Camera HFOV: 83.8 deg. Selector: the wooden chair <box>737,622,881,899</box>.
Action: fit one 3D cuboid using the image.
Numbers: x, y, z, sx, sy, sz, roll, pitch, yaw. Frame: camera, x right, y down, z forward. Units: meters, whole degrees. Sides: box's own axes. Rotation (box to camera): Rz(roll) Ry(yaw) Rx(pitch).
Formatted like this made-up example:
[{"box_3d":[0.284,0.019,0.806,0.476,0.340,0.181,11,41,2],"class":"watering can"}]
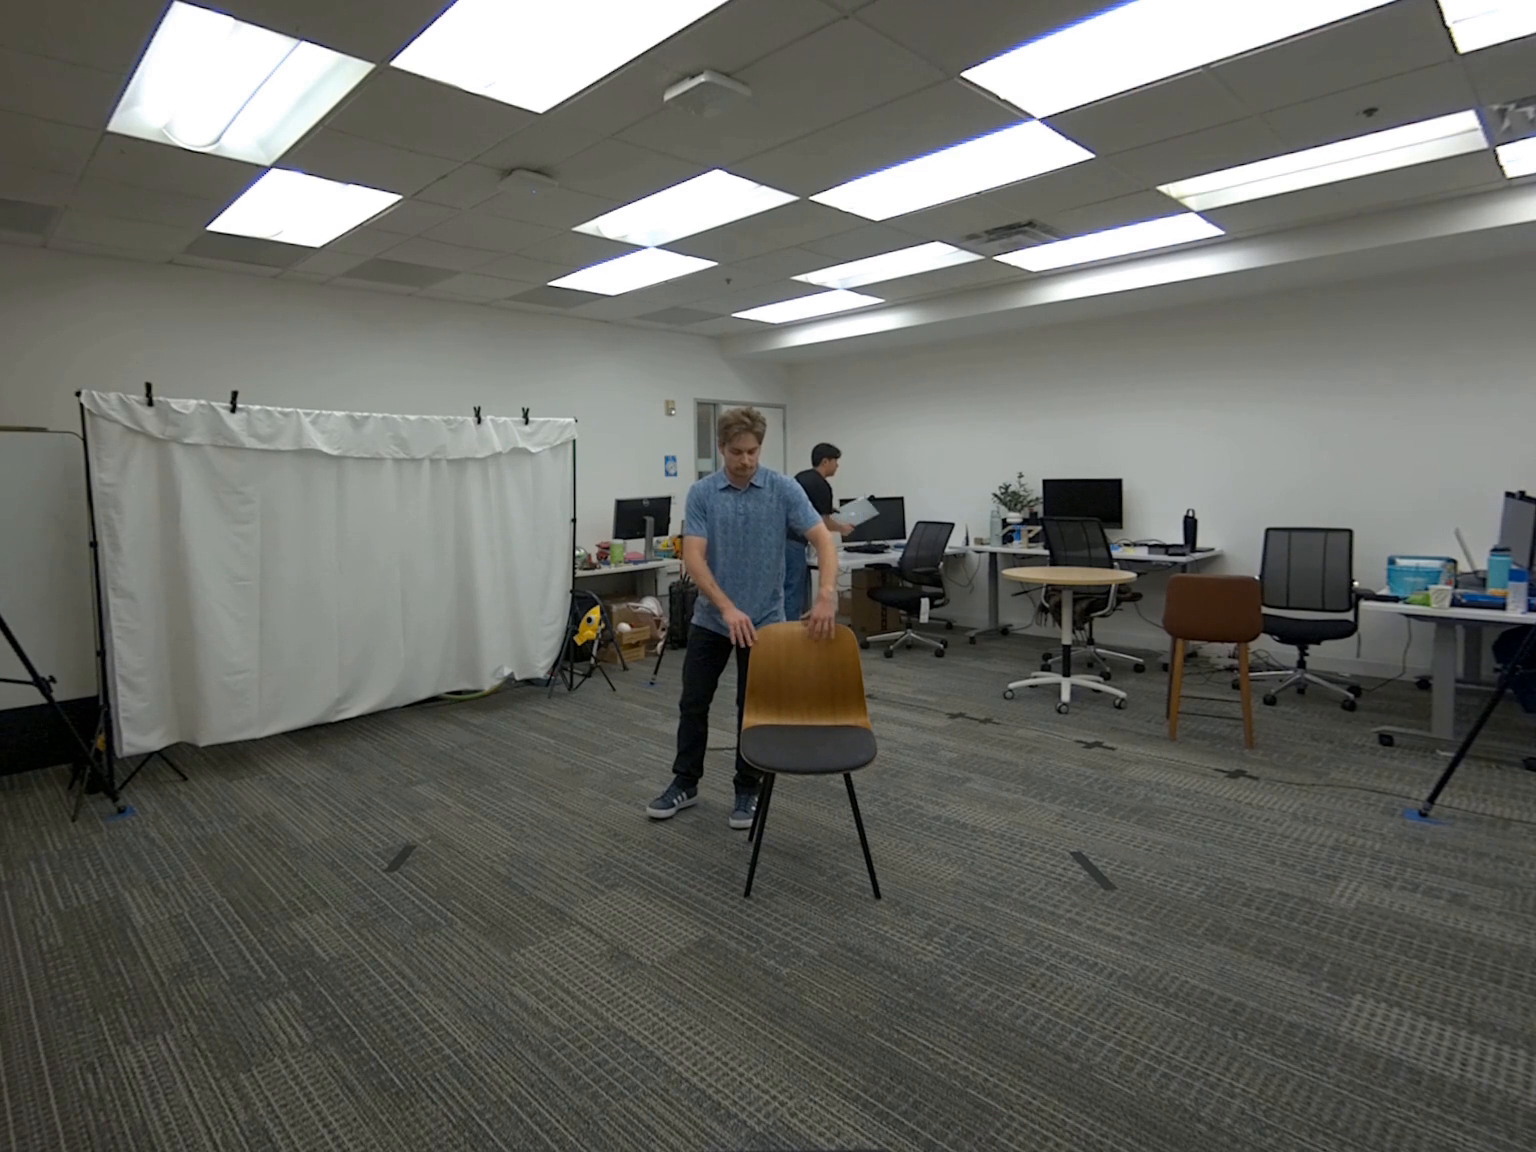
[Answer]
[{"box_3d":[0.146,0.623,3.016,0.479,0.877,0.522,0,0,2],"class":"wooden chair"}]
